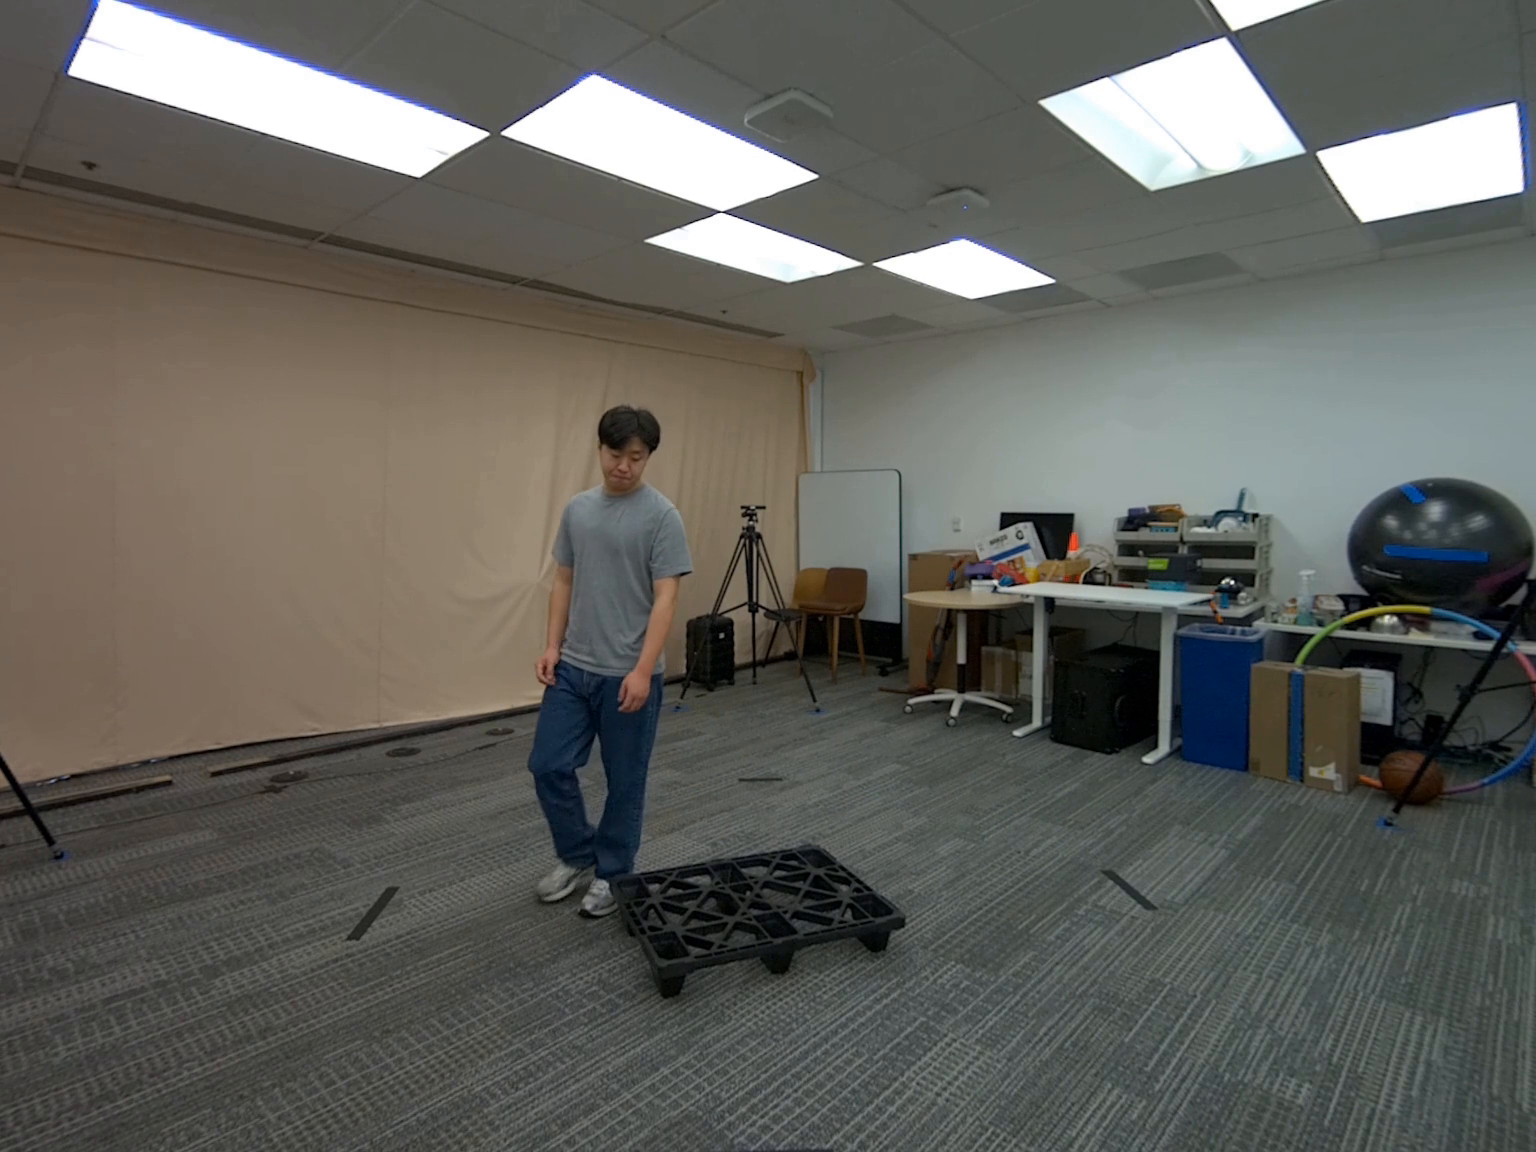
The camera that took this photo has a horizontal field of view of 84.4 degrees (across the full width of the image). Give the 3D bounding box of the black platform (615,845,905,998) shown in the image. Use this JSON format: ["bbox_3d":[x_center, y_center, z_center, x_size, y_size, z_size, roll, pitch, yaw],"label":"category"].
[{"bbox_3d":[-0.058,1.099,2.720,0.788,0.143,0.619,-2,4,-22],"label":"black platform"}]
